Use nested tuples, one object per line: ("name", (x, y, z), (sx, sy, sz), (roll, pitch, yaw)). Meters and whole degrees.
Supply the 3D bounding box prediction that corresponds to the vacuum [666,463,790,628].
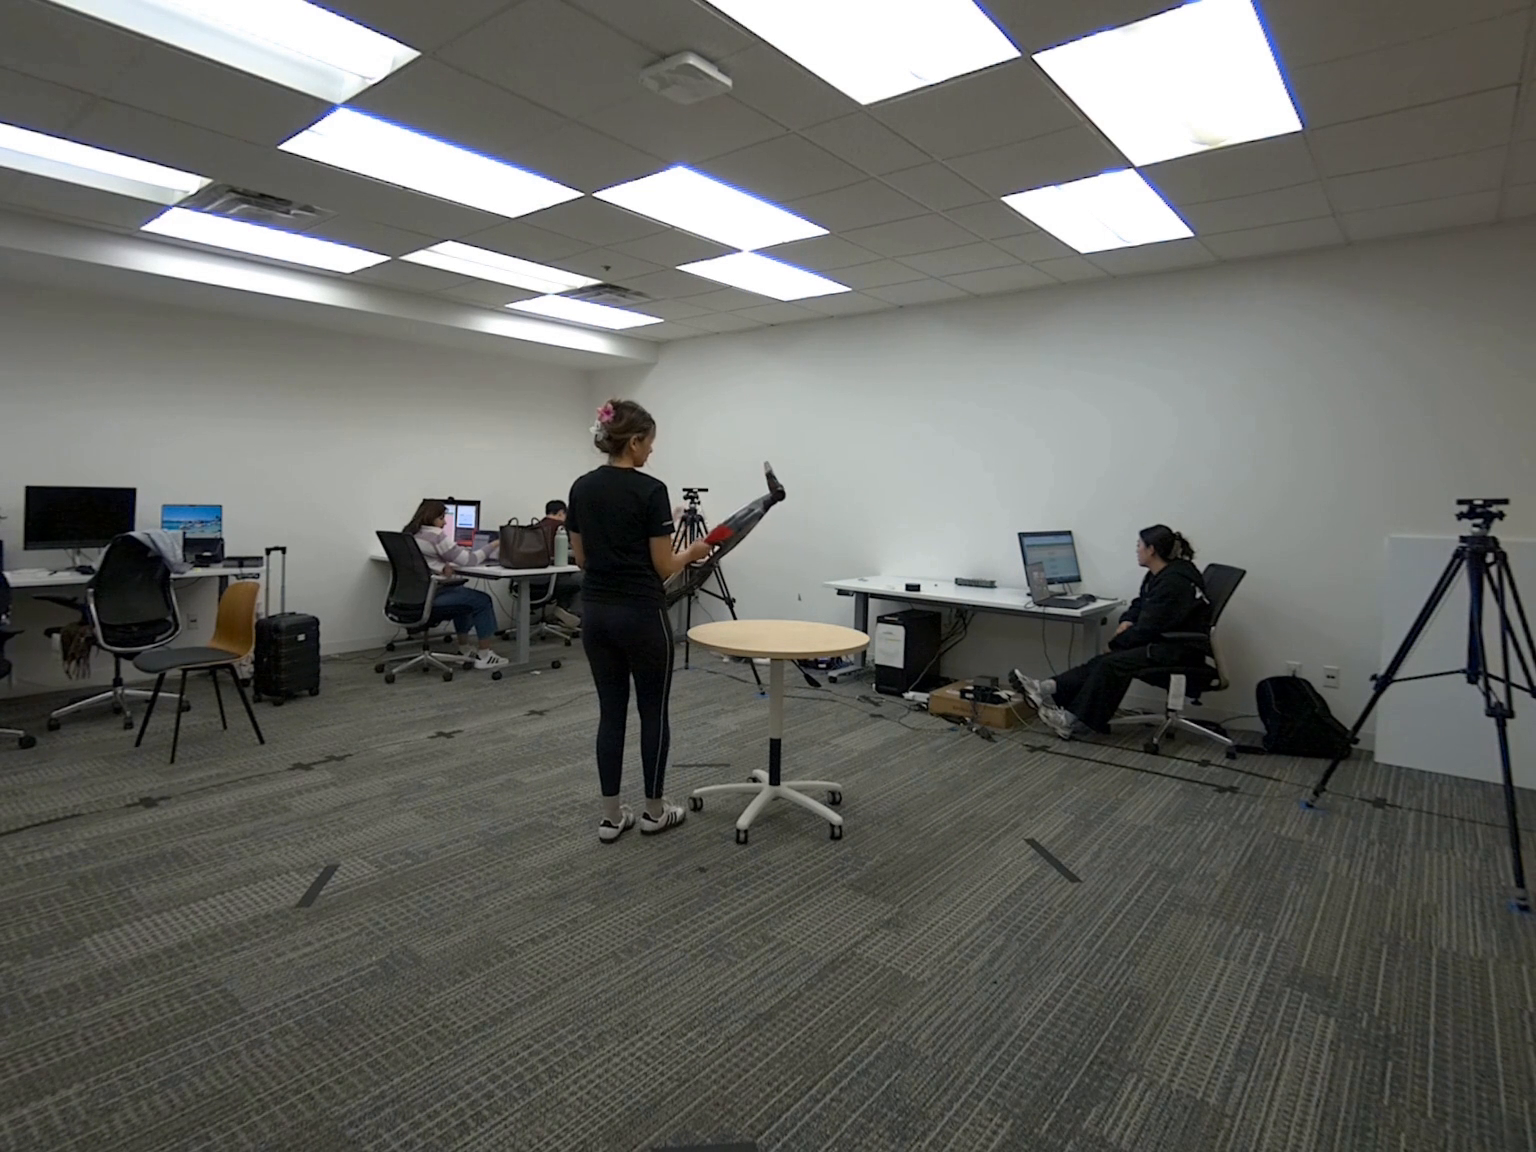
("vacuum", (-0.324, -0.023, 3.569), (0.142, 1.049, 0.256), (41, 11, -12))
